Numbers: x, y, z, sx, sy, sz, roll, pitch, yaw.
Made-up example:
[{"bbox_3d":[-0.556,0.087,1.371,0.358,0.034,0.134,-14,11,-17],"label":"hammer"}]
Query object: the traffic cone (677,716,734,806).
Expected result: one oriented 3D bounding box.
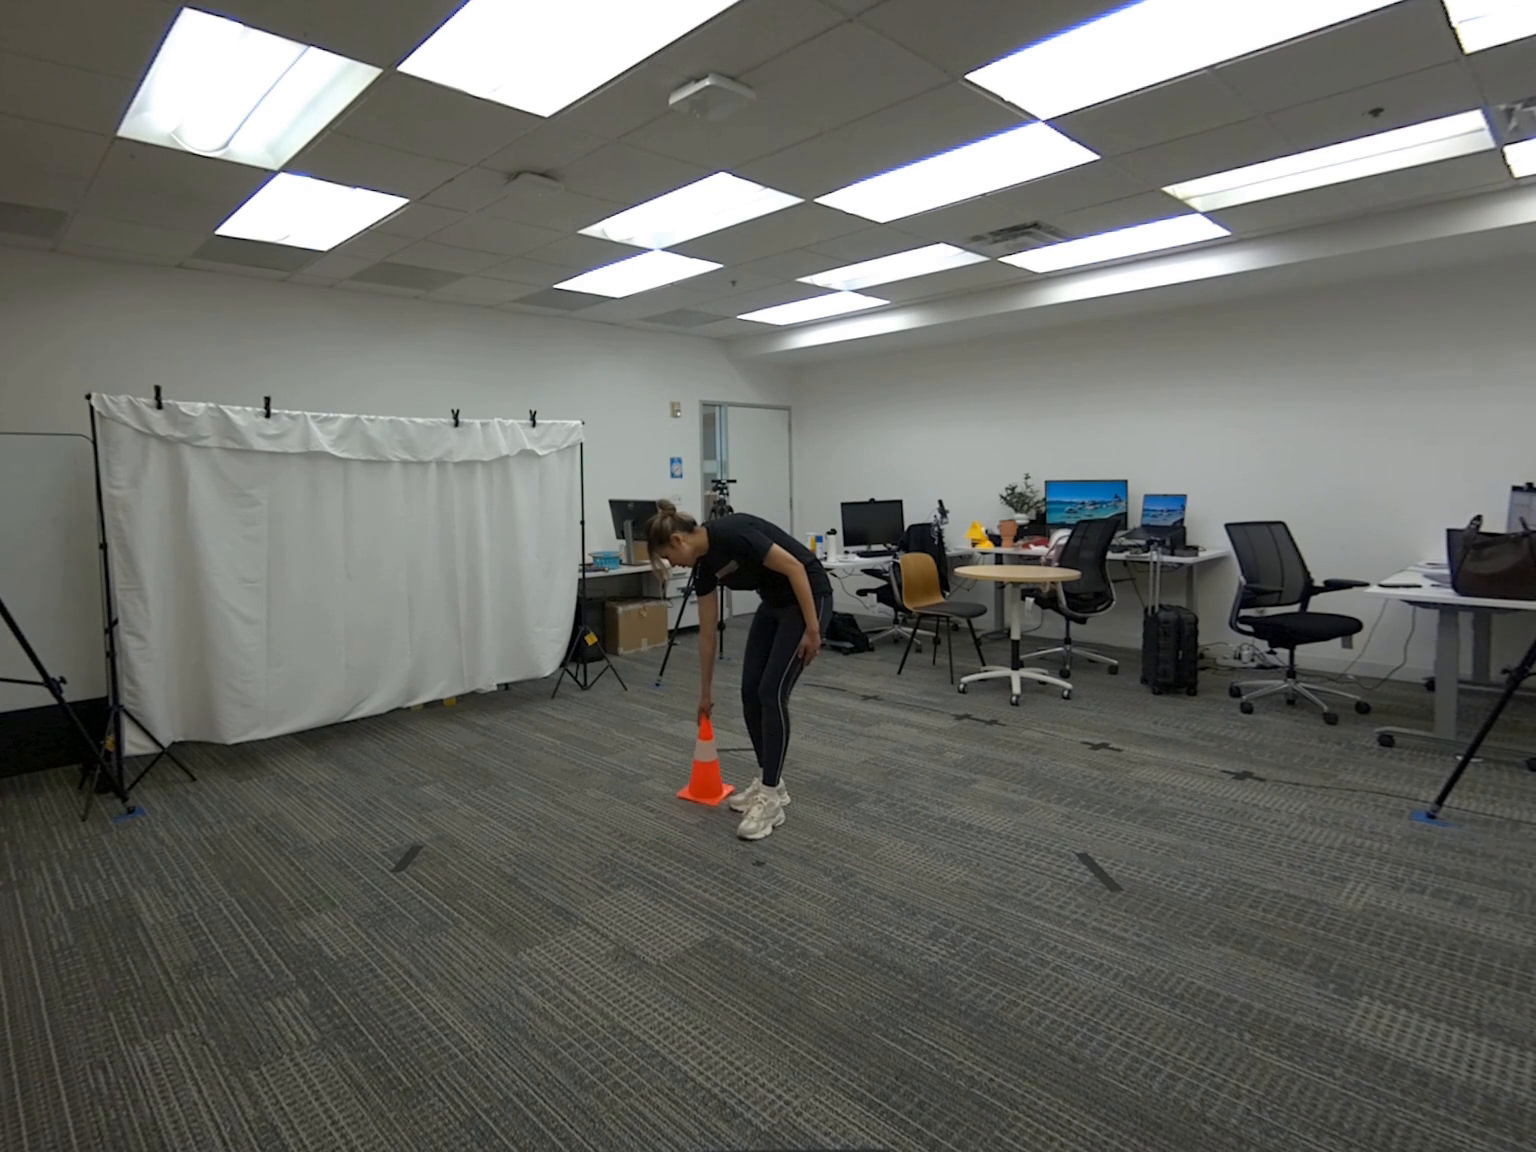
[{"bbox_3d":[-0.272,0.781,3.760,0.210,0.379,0.200,7,15,26],"label":"traffic cone"}]
